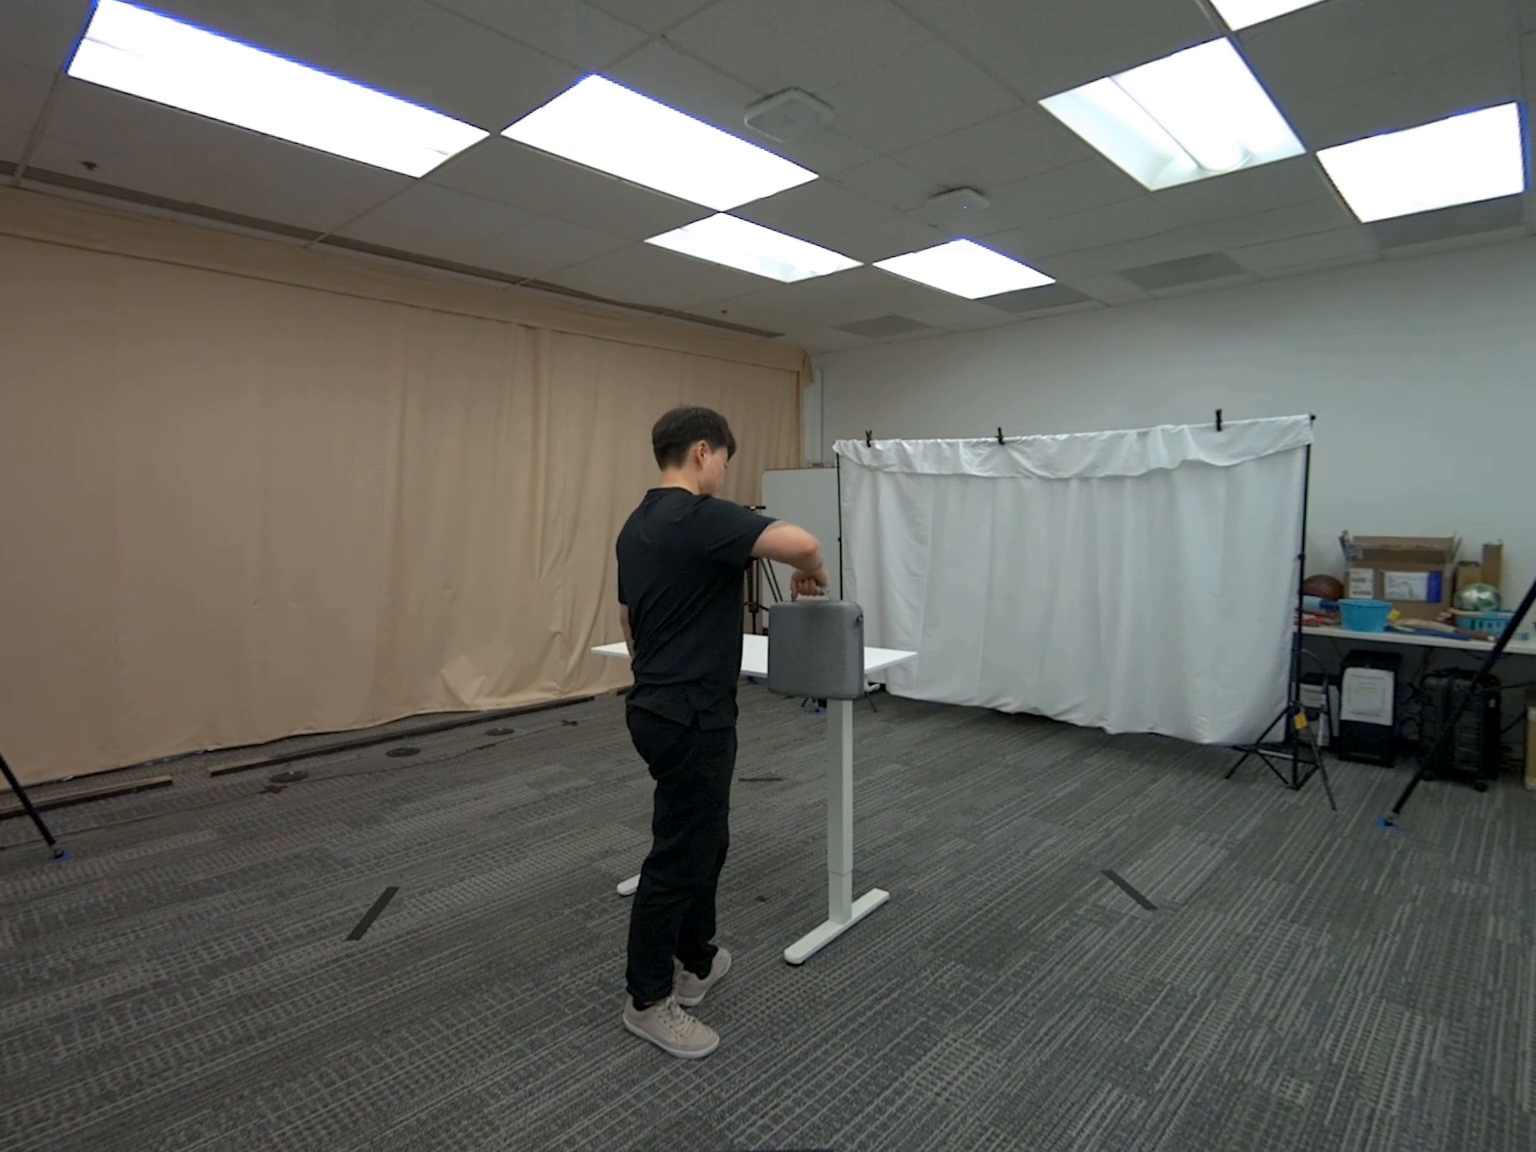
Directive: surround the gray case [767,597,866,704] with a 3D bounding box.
[{"bbox_3d":[0.132,0.195,2.216,0.264,0.261,0.101,-3,-5,36],"label":"gray case"}]
